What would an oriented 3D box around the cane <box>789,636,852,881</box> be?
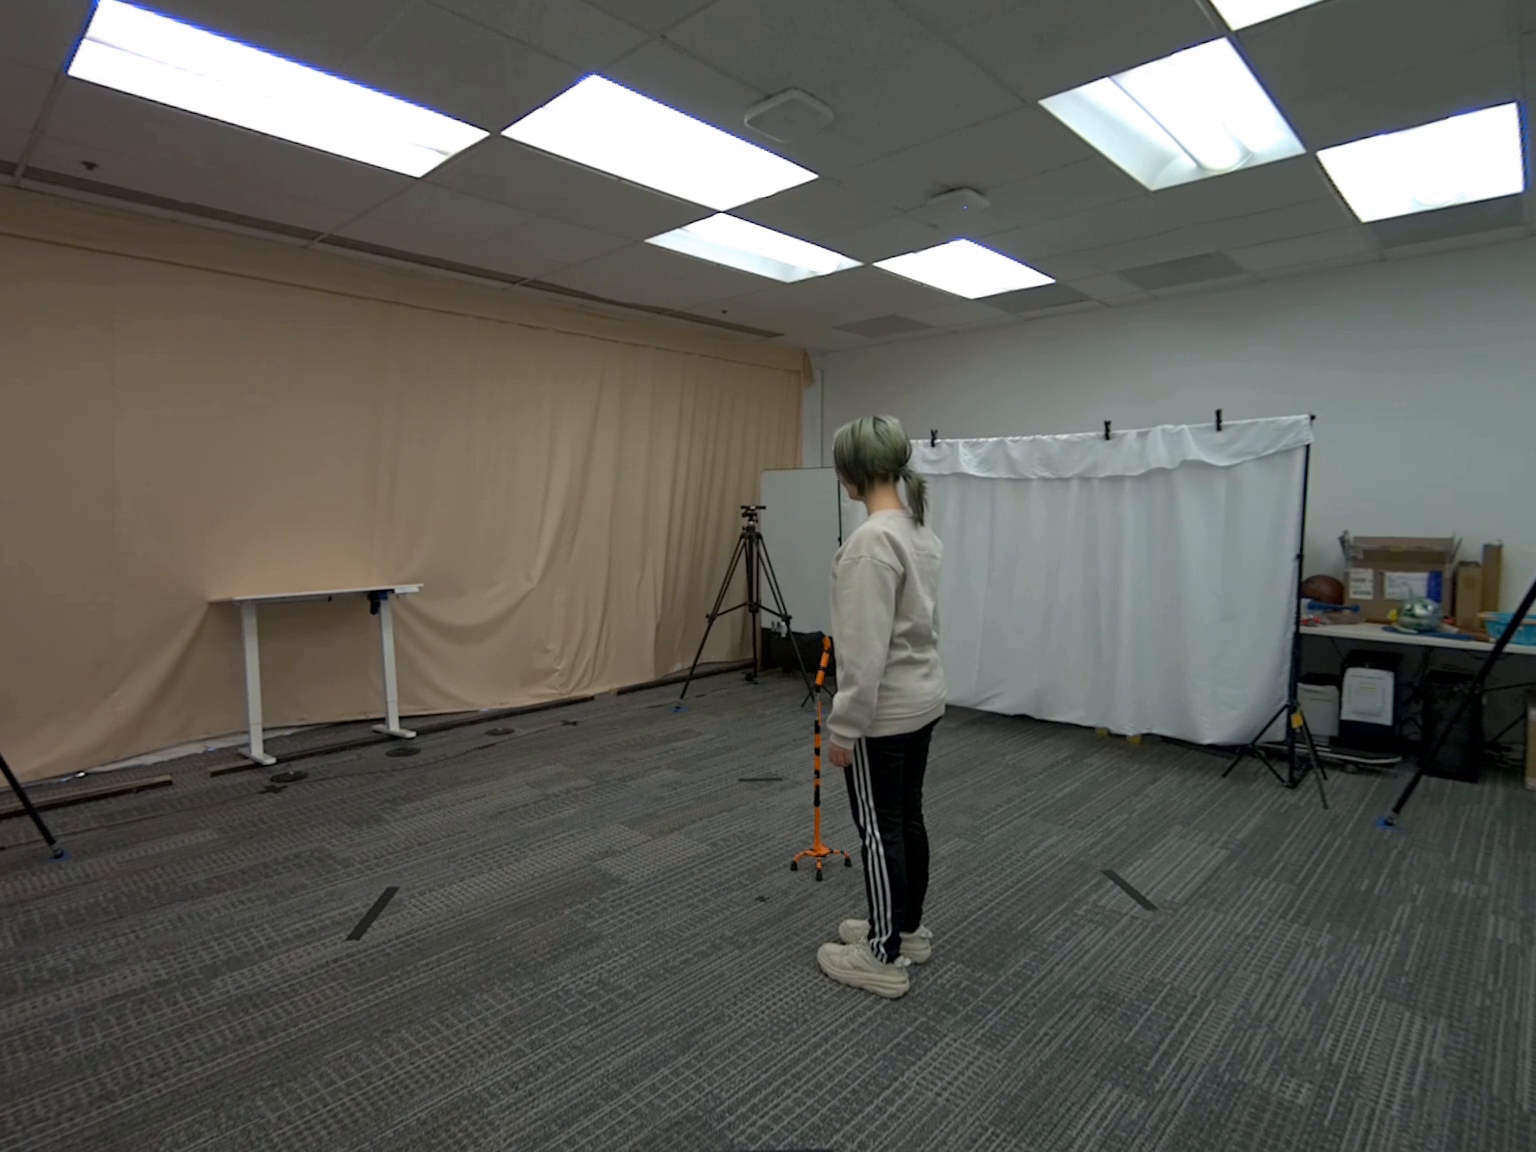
[{"bbox_3d":[0.198,0.668,3.213,0.200,0.906,0.156,-4,4,-45],"label":"cane"}]
